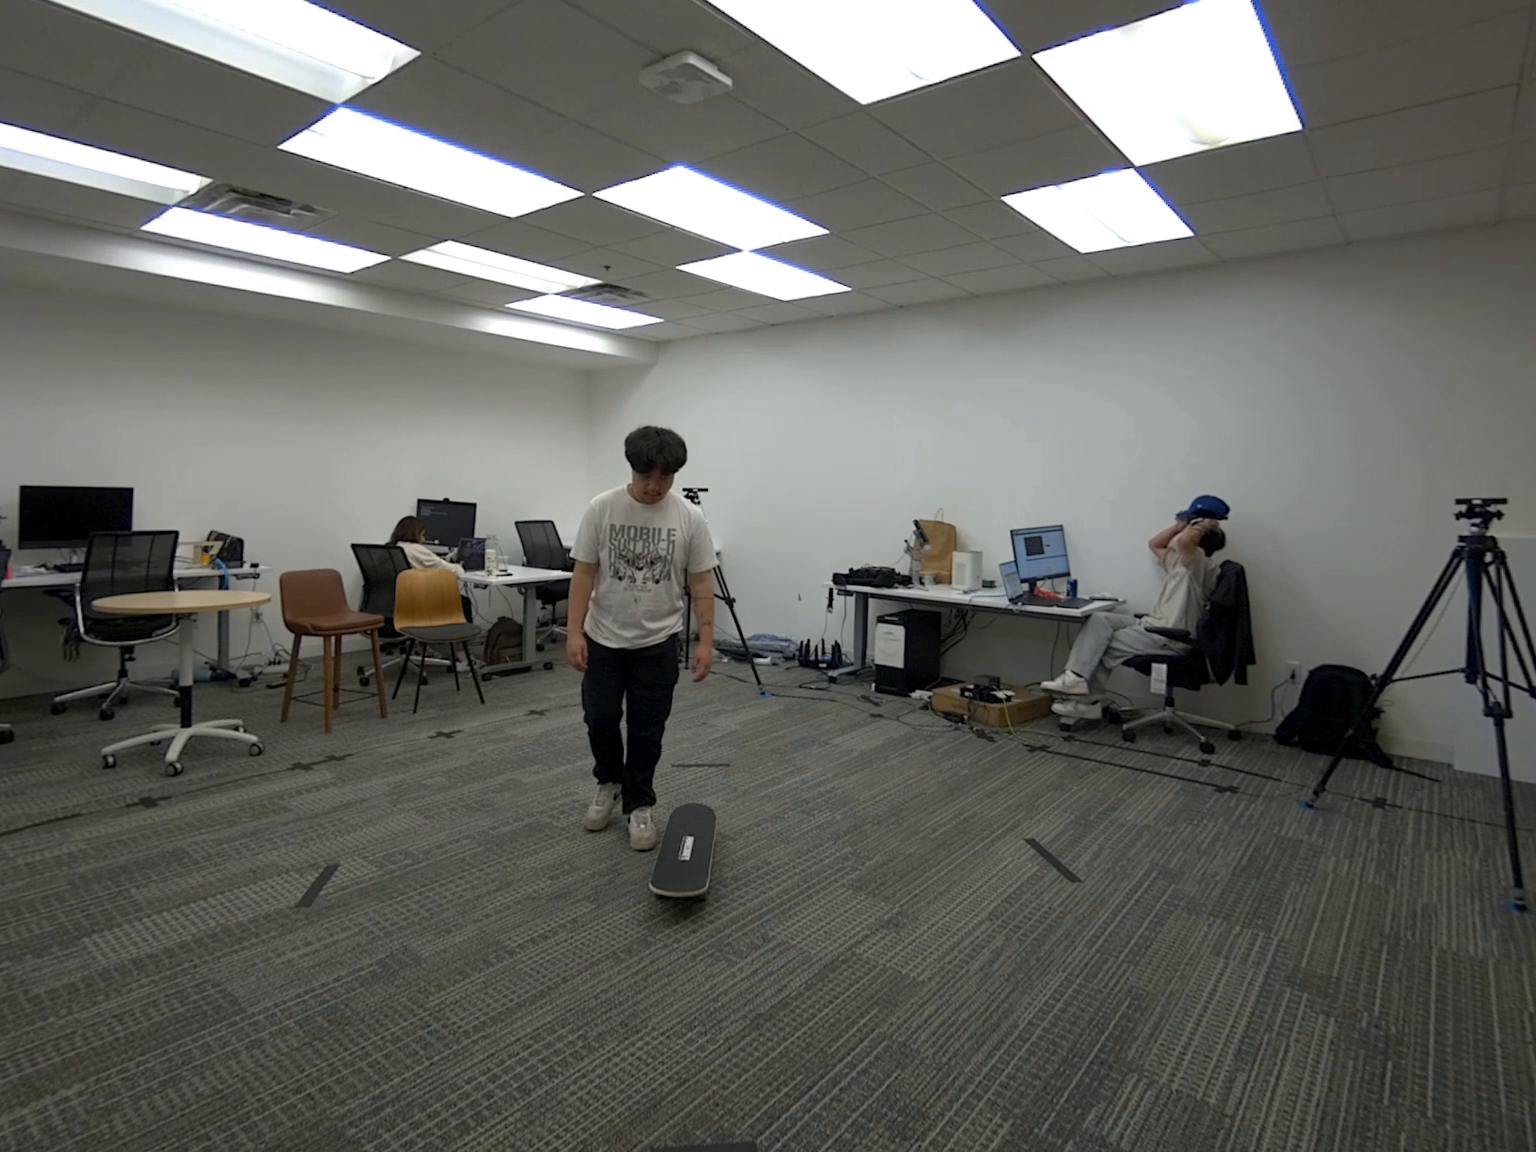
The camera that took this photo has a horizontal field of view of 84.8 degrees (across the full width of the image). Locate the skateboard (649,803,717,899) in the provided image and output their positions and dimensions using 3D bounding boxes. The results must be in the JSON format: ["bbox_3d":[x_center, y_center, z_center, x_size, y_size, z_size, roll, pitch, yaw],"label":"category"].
[{"bbox_3d":[-0.308,1.012,3.082,0.194,0.110,0.787,1,5,-1],"label":"skateboard"}]
